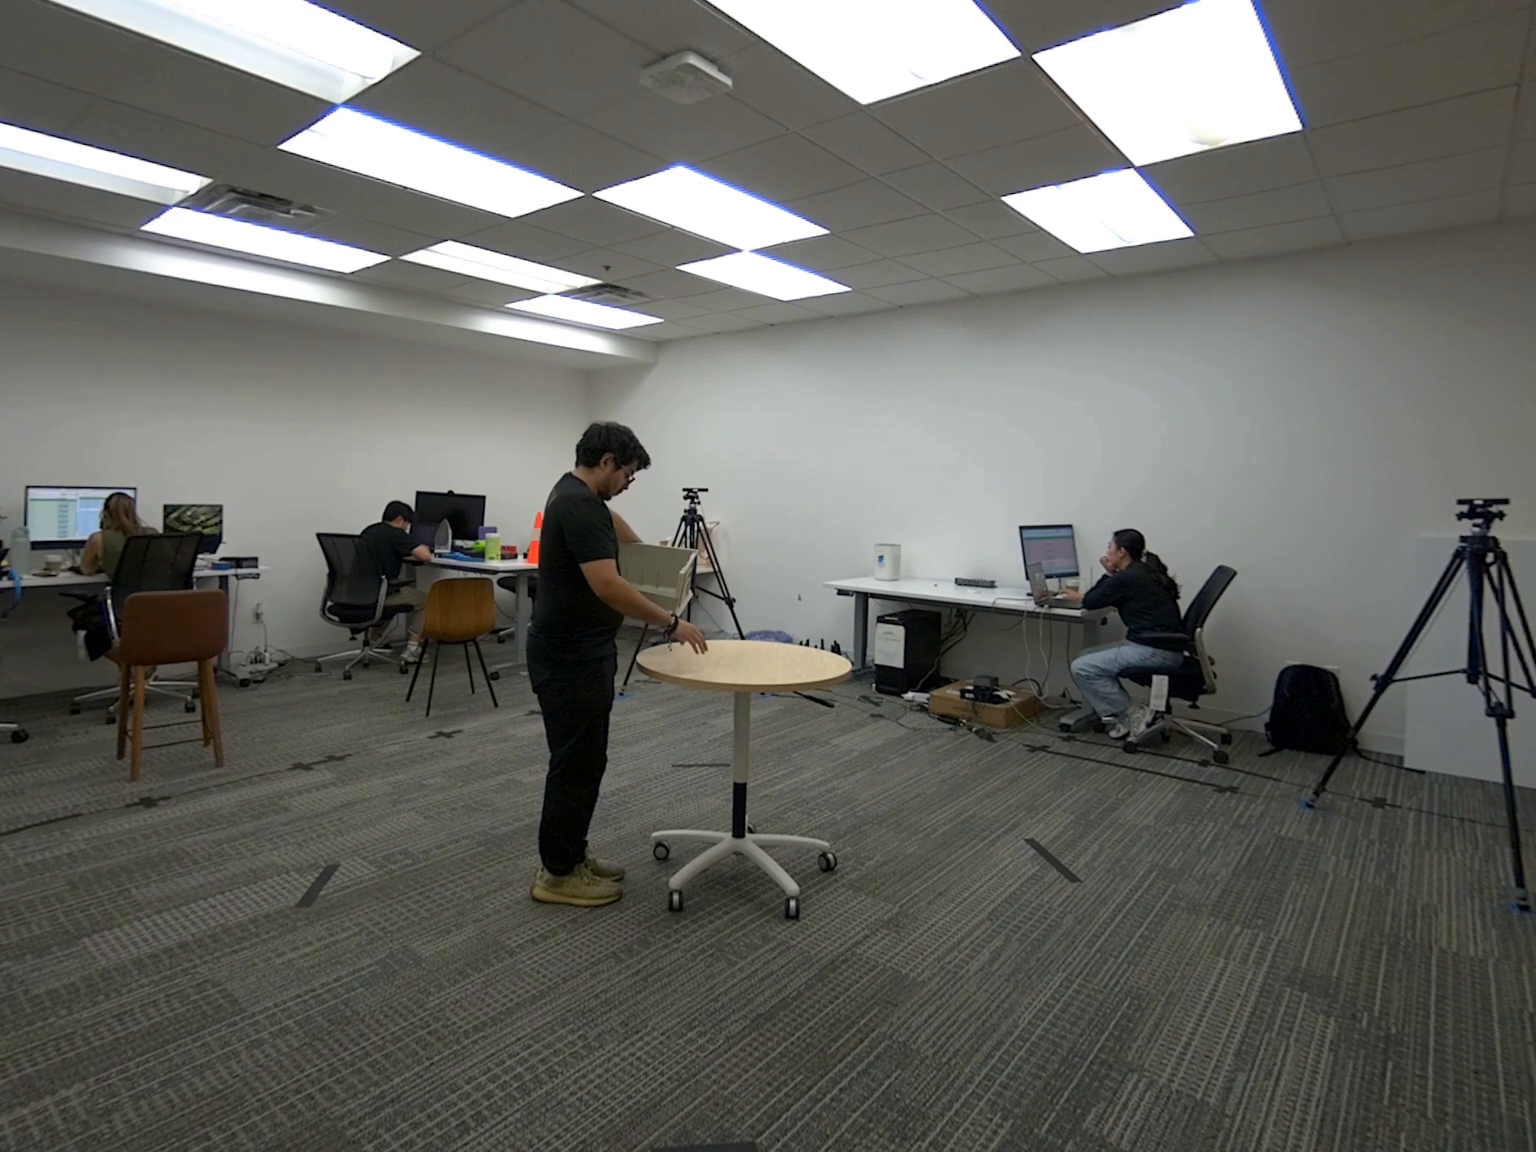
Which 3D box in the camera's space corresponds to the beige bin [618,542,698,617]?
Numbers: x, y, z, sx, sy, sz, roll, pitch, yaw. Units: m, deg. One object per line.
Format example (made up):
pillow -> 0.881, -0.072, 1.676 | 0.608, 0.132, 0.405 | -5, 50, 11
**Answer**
beige bin -> -0.509, 0.004, 3.182 | 0.425, 0.187, 0.379 | 7, 11, 4
